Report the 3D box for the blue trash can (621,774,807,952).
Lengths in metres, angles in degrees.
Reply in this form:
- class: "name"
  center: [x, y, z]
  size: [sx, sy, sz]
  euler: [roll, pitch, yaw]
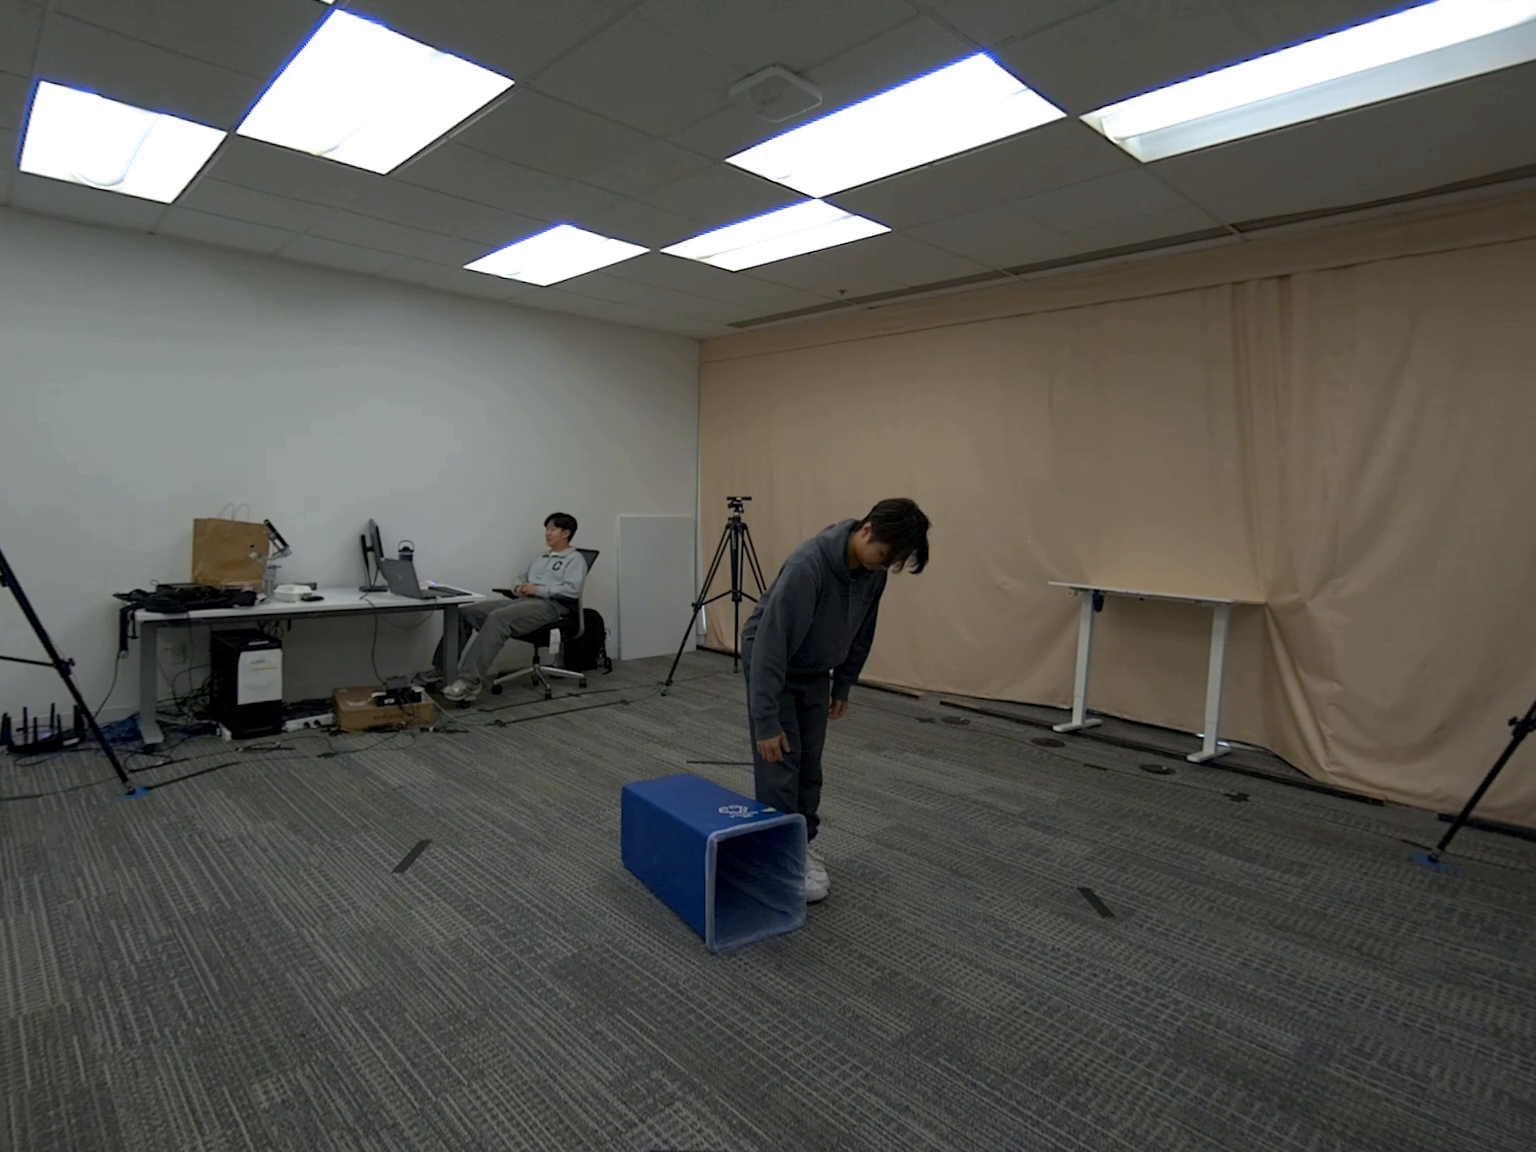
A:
- class: "blue trash can"
  center: [-0.238, 0.949, 2.937]
  size: [0.366, 0.378, 0.730]
  euler: [-1, 2, -34]
